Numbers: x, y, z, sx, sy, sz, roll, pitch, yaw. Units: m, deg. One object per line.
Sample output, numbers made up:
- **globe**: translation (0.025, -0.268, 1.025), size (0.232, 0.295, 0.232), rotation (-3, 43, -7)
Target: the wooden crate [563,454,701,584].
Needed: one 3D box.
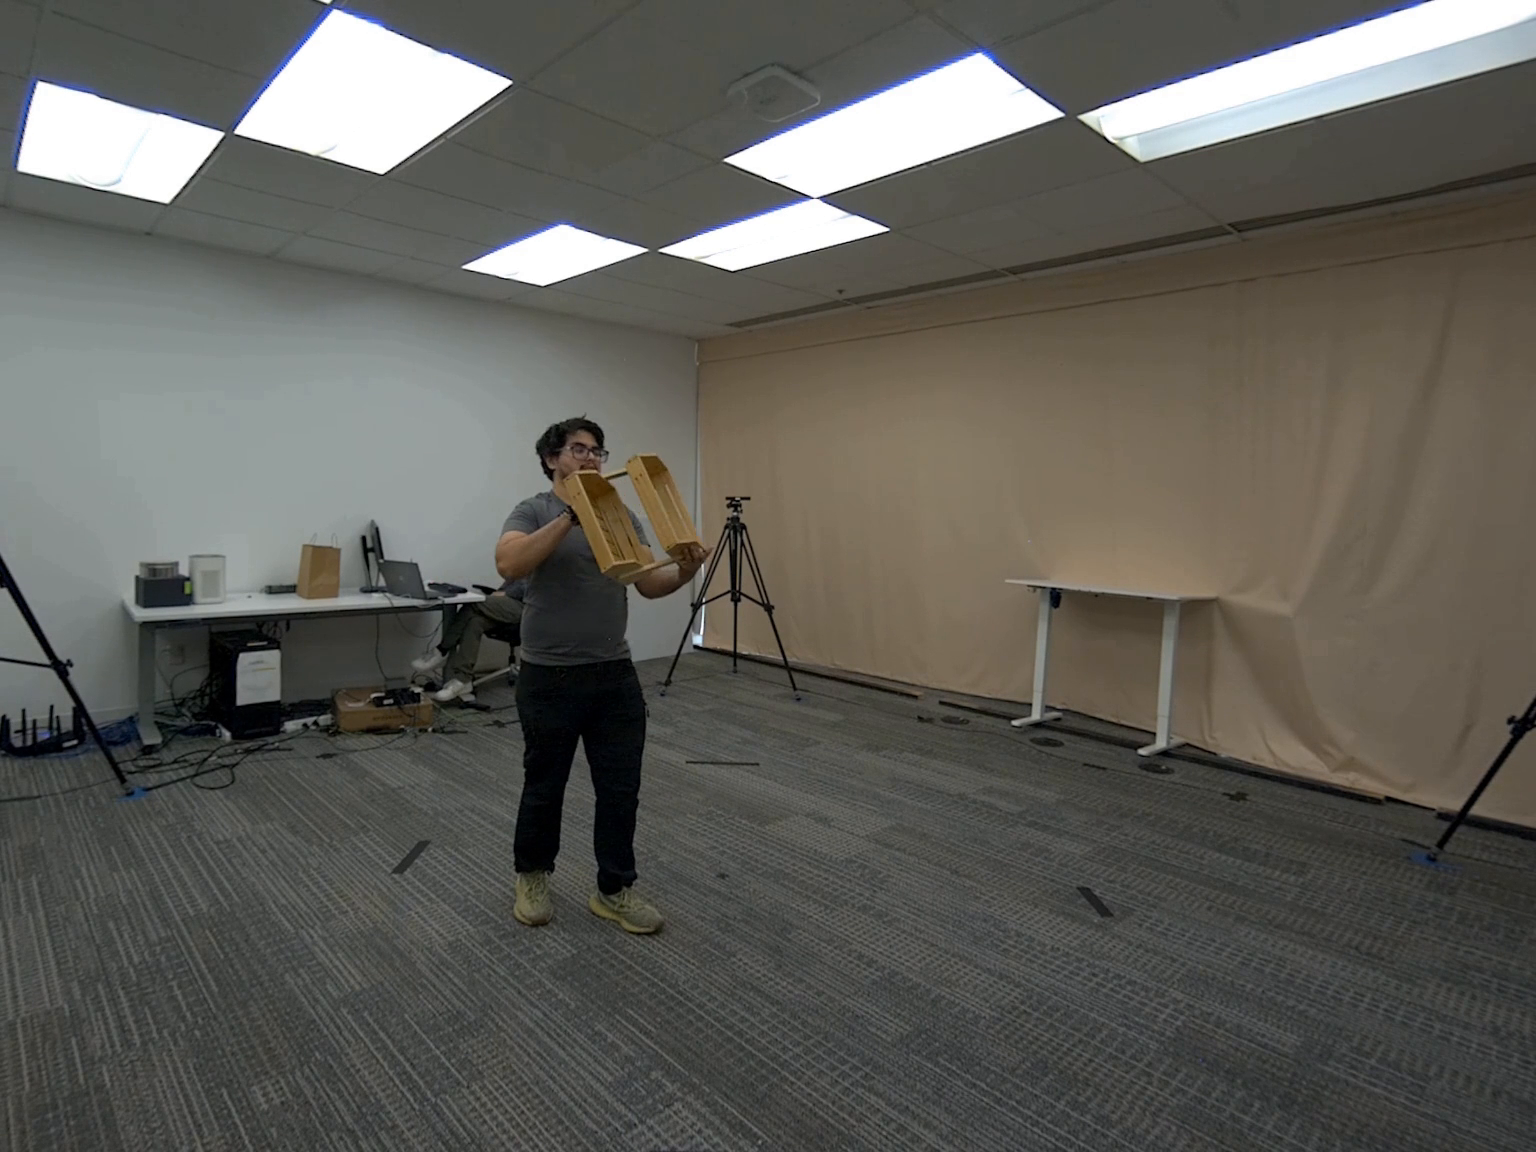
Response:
- **wooden crate**: translation (-0.394, -0.177, 2.470), size (0.273, 0.329, 0.297), rotation (-26, -13, 3)
